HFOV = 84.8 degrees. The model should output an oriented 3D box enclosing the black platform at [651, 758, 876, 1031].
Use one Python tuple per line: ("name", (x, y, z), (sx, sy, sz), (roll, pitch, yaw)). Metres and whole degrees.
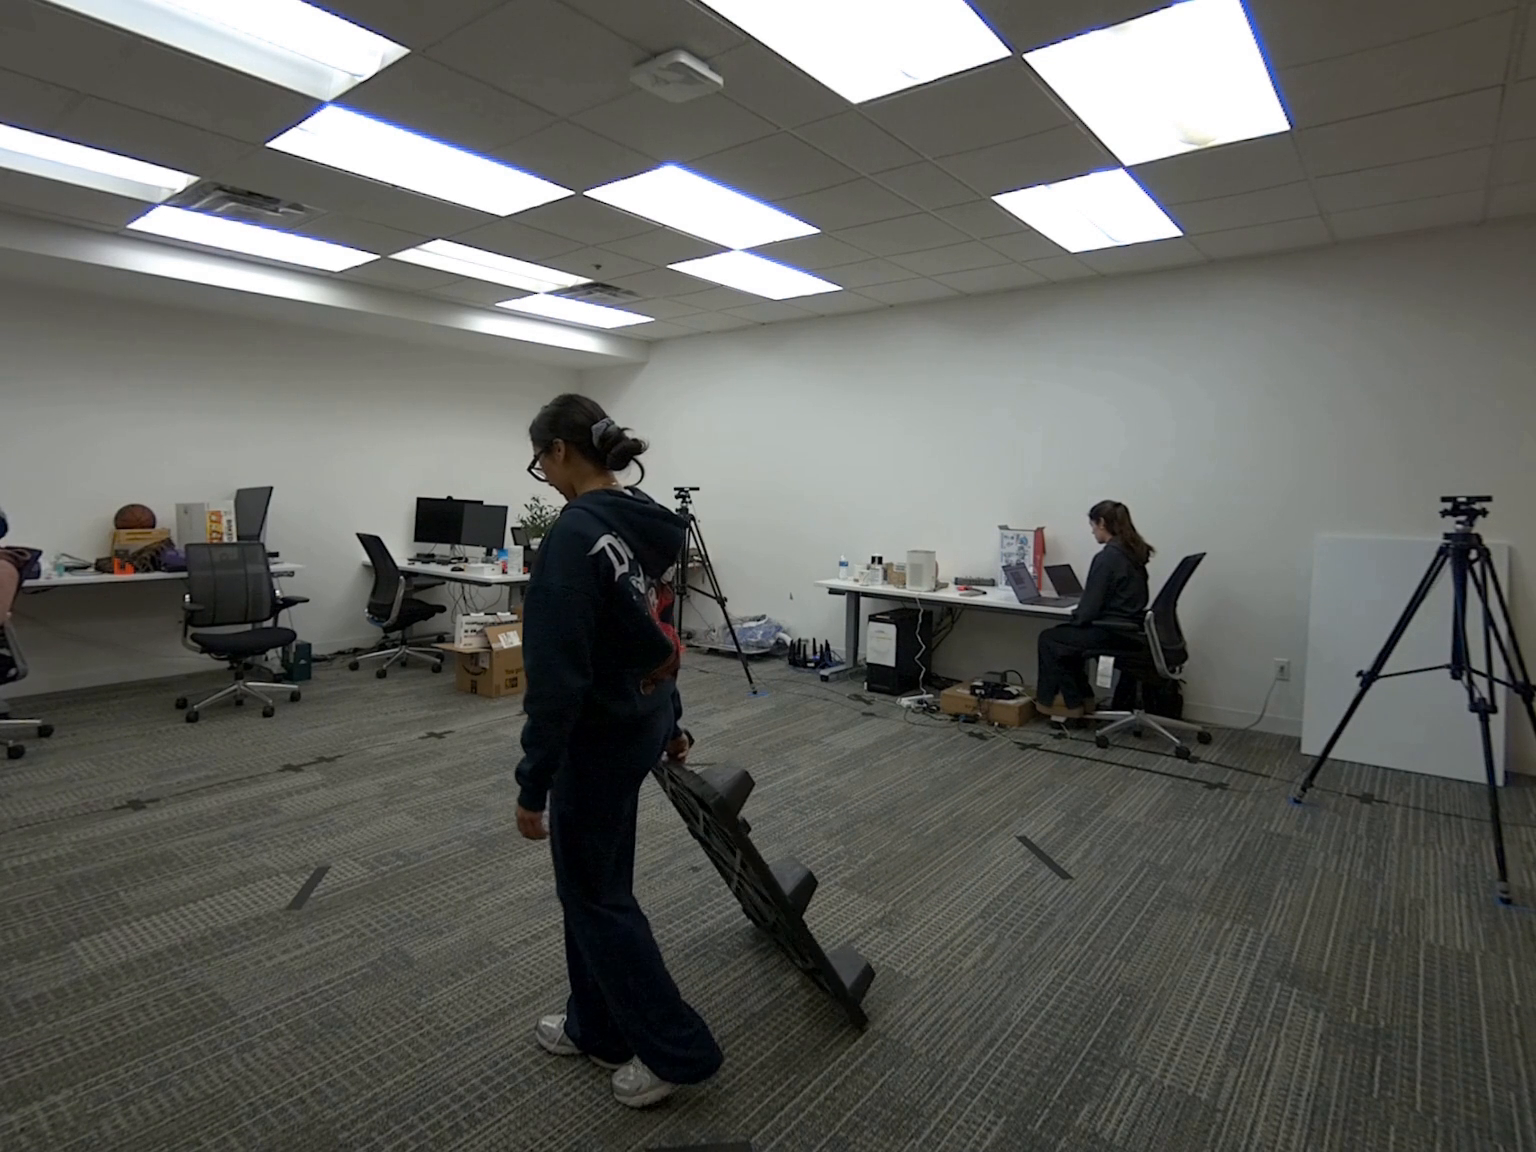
("black platform", (-0.051, 0.779, 2.355), (0.142, 0.787, 0.623), (-36, 19, -19))
